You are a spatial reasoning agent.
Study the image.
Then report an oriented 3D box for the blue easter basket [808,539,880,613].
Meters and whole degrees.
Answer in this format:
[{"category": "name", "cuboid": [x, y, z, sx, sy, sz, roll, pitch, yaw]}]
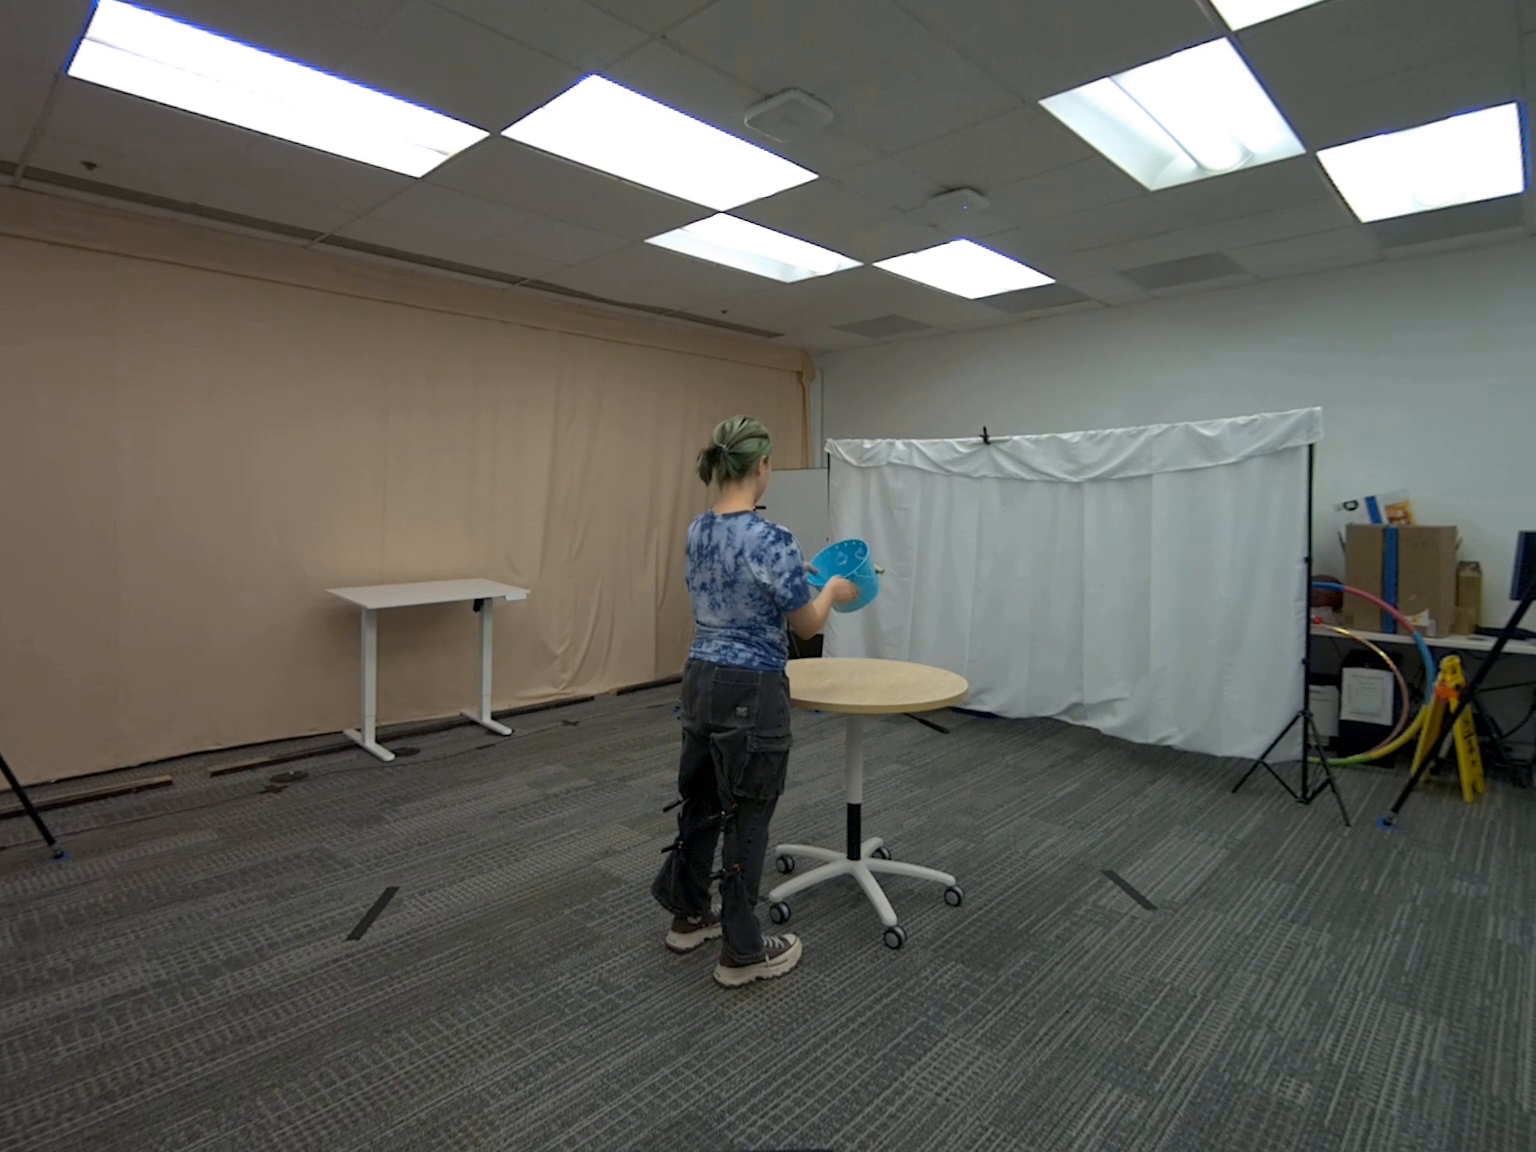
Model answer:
[{"category": "blue easter basket", "cuboid": [0.268, 0.012, 2.836, 0.246, 0.152, 0.248, -26, 28, 13]}]
